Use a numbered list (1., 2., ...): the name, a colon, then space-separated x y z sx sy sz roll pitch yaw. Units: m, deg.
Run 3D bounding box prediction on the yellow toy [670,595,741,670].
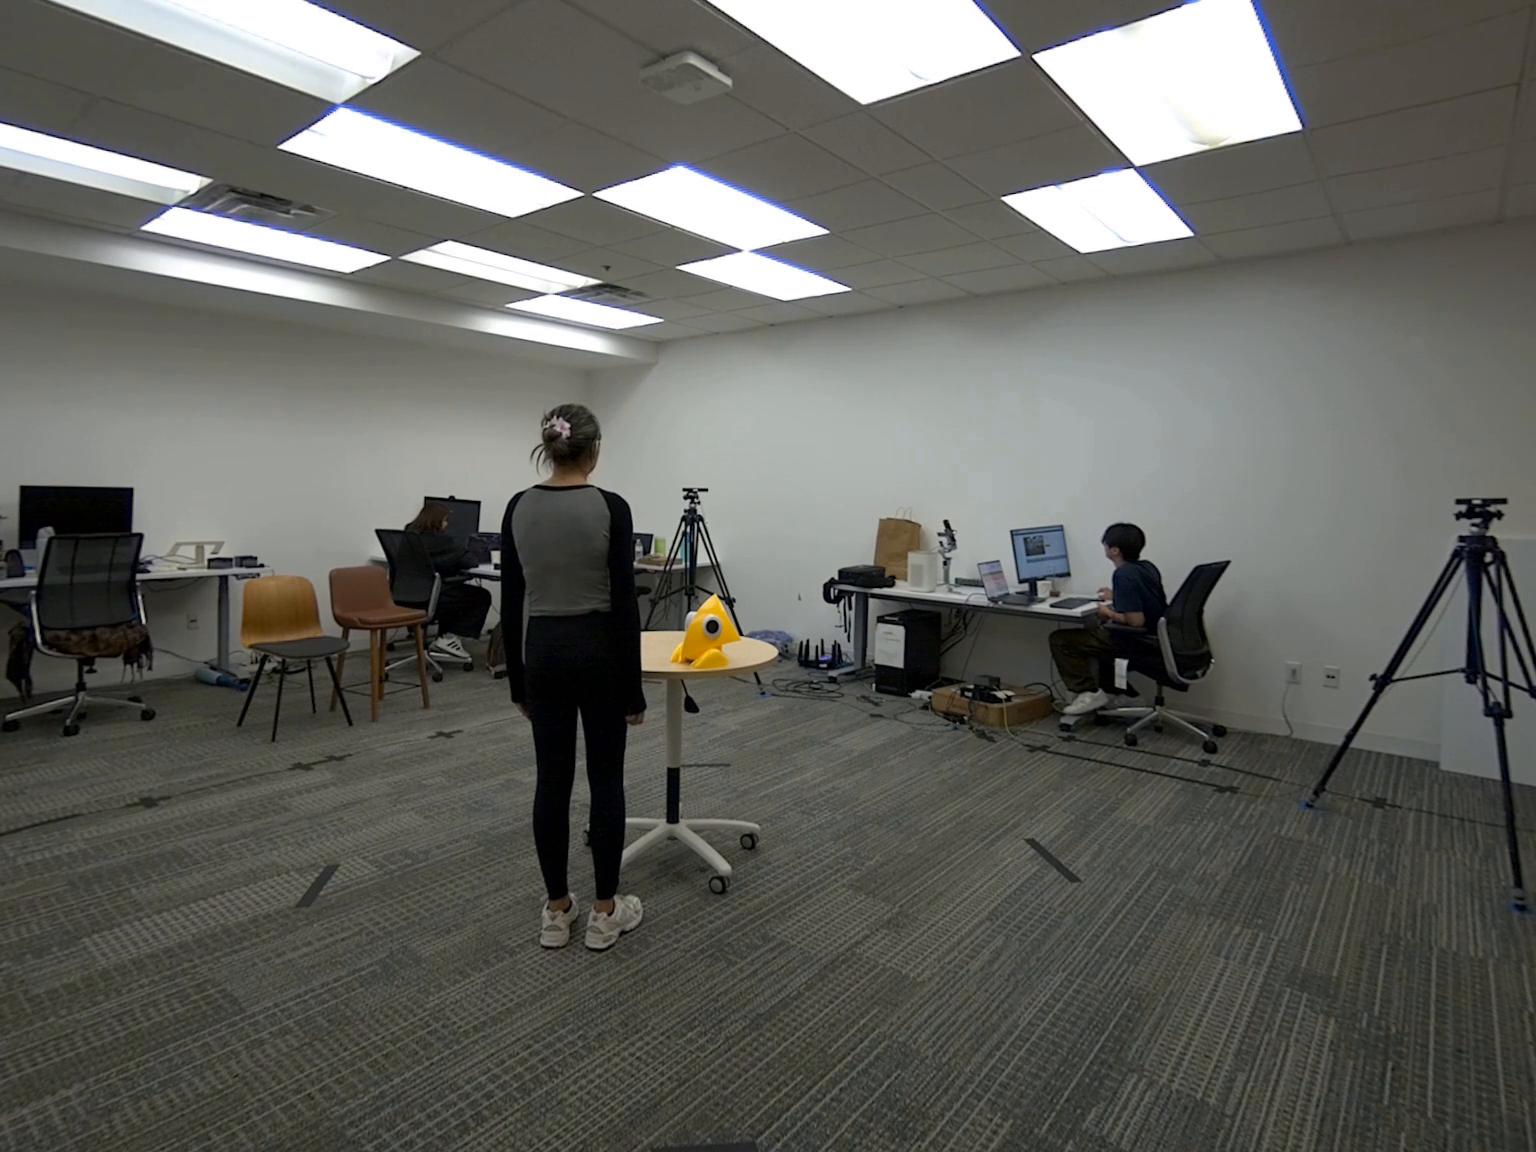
1. yellow toy: -0.238 0.181 2.934 0.187 0.230 0.212 -5 7 -45
